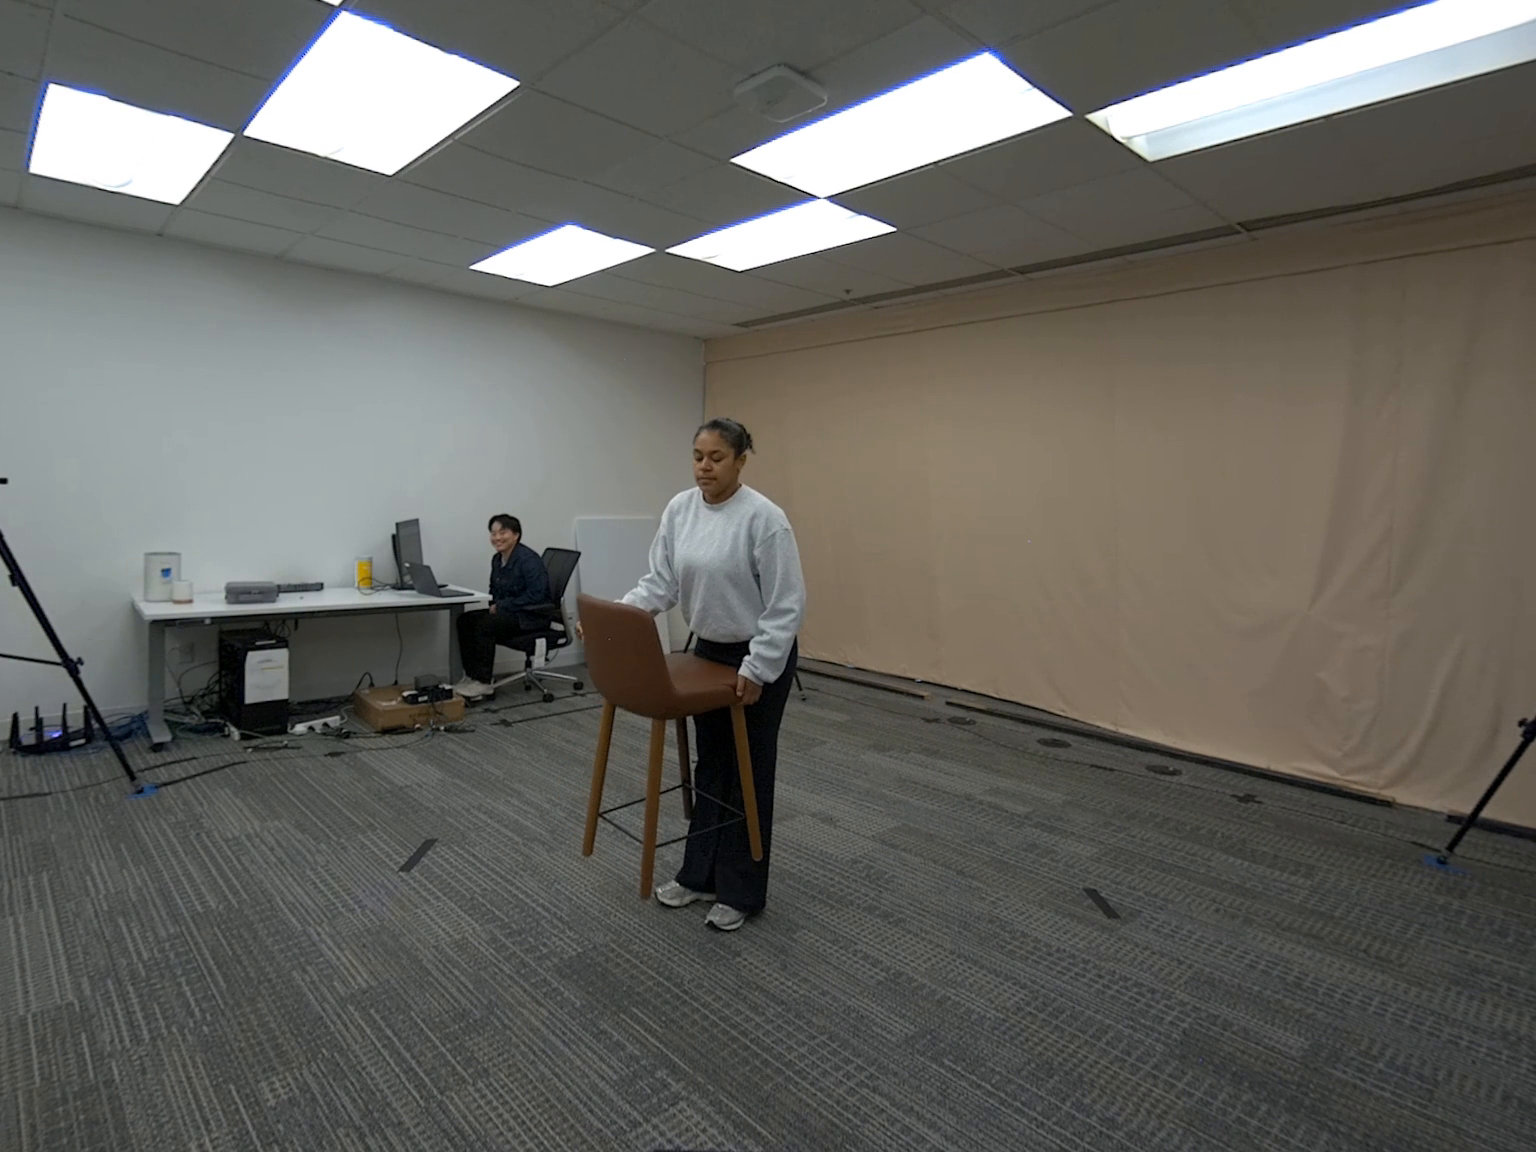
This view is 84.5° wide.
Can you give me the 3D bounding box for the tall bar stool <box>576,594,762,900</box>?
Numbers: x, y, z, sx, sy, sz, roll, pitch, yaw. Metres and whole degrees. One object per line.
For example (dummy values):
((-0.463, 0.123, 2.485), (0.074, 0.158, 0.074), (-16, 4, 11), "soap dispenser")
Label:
((-0.331, 0.491, 2.682), (0.458, 0.885, 0.468), (-7, 10, -40), "tall bar stool")
